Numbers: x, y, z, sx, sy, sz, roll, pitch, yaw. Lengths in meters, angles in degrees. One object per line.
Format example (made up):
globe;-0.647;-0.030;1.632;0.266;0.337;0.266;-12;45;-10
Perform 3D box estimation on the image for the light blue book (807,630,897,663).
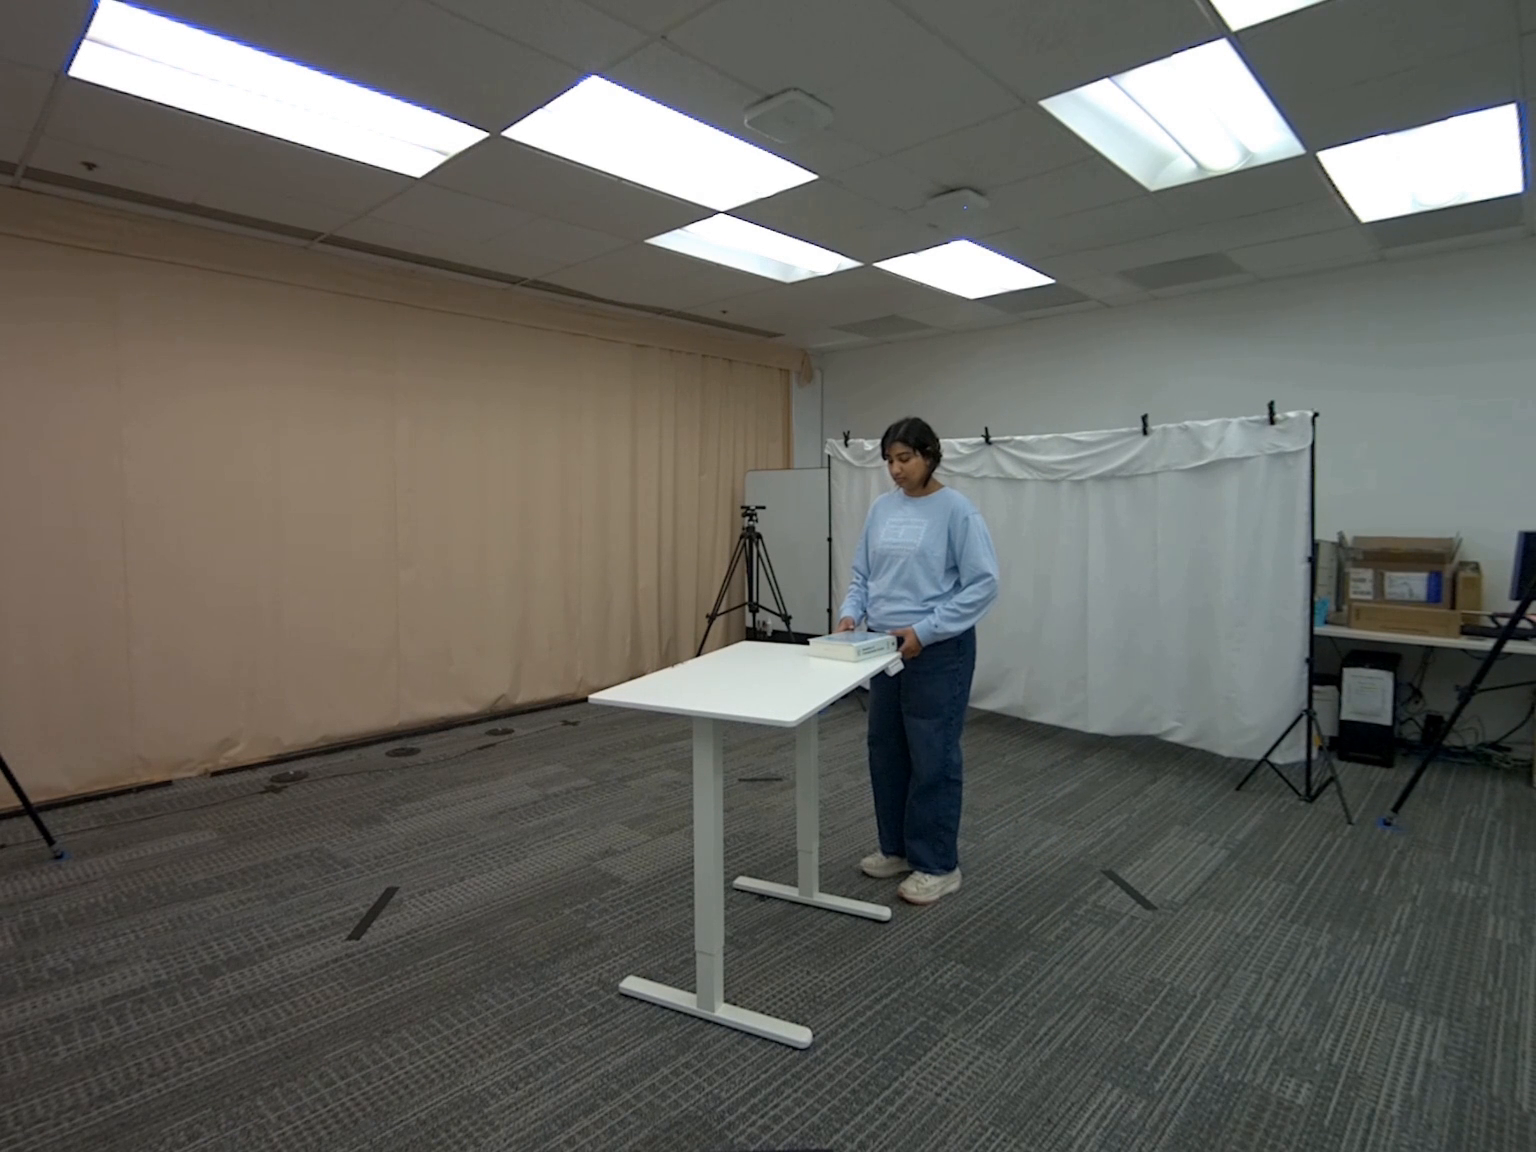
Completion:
light blue book;0.279;0.242;2.864;0.197;0.059;0.253;3;5;37
